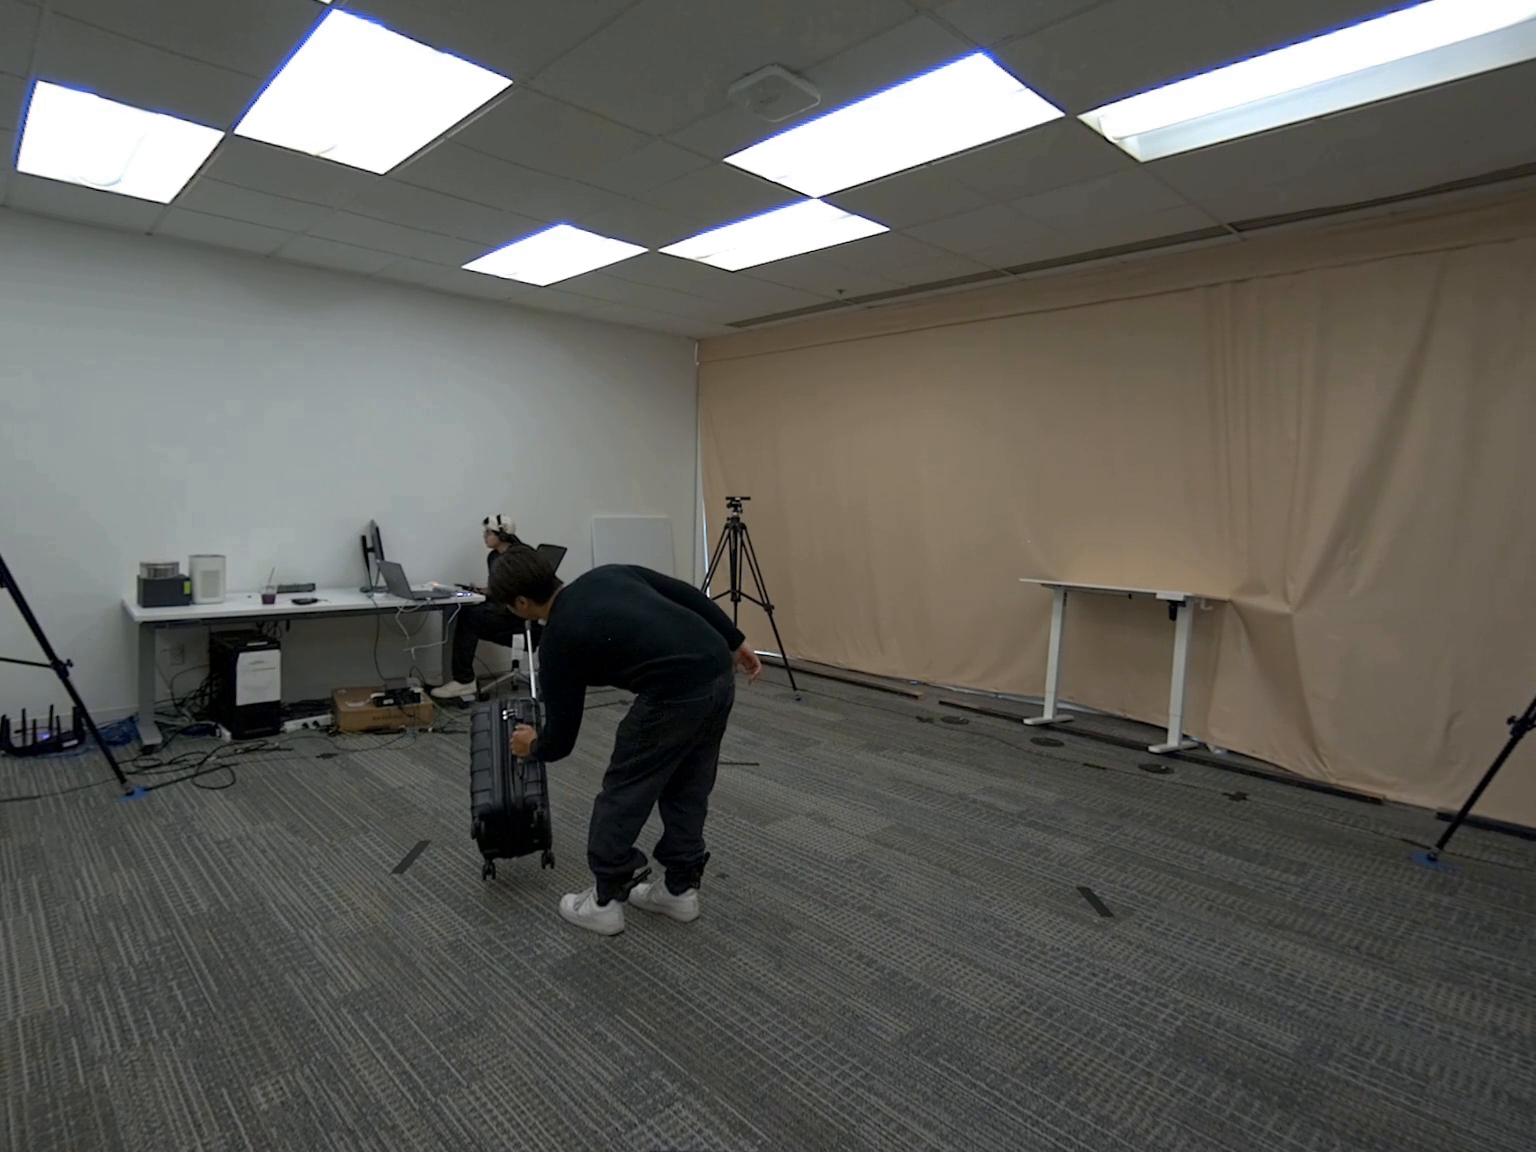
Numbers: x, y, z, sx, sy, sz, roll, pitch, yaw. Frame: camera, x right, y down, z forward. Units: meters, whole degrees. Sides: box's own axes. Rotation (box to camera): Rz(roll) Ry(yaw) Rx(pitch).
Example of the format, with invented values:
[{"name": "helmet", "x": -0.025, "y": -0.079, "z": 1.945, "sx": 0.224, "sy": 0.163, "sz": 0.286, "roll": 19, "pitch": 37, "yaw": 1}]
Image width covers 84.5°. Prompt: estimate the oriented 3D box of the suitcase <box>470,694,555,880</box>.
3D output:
[{"name": "suitcase", "x": -0.999, "y": 0.597, "z": 3.198, "sx": 0.254, "sy": 0.376, "sz": 1.007, "roll": -8, "pitch": 45, "yaw": -15}]
